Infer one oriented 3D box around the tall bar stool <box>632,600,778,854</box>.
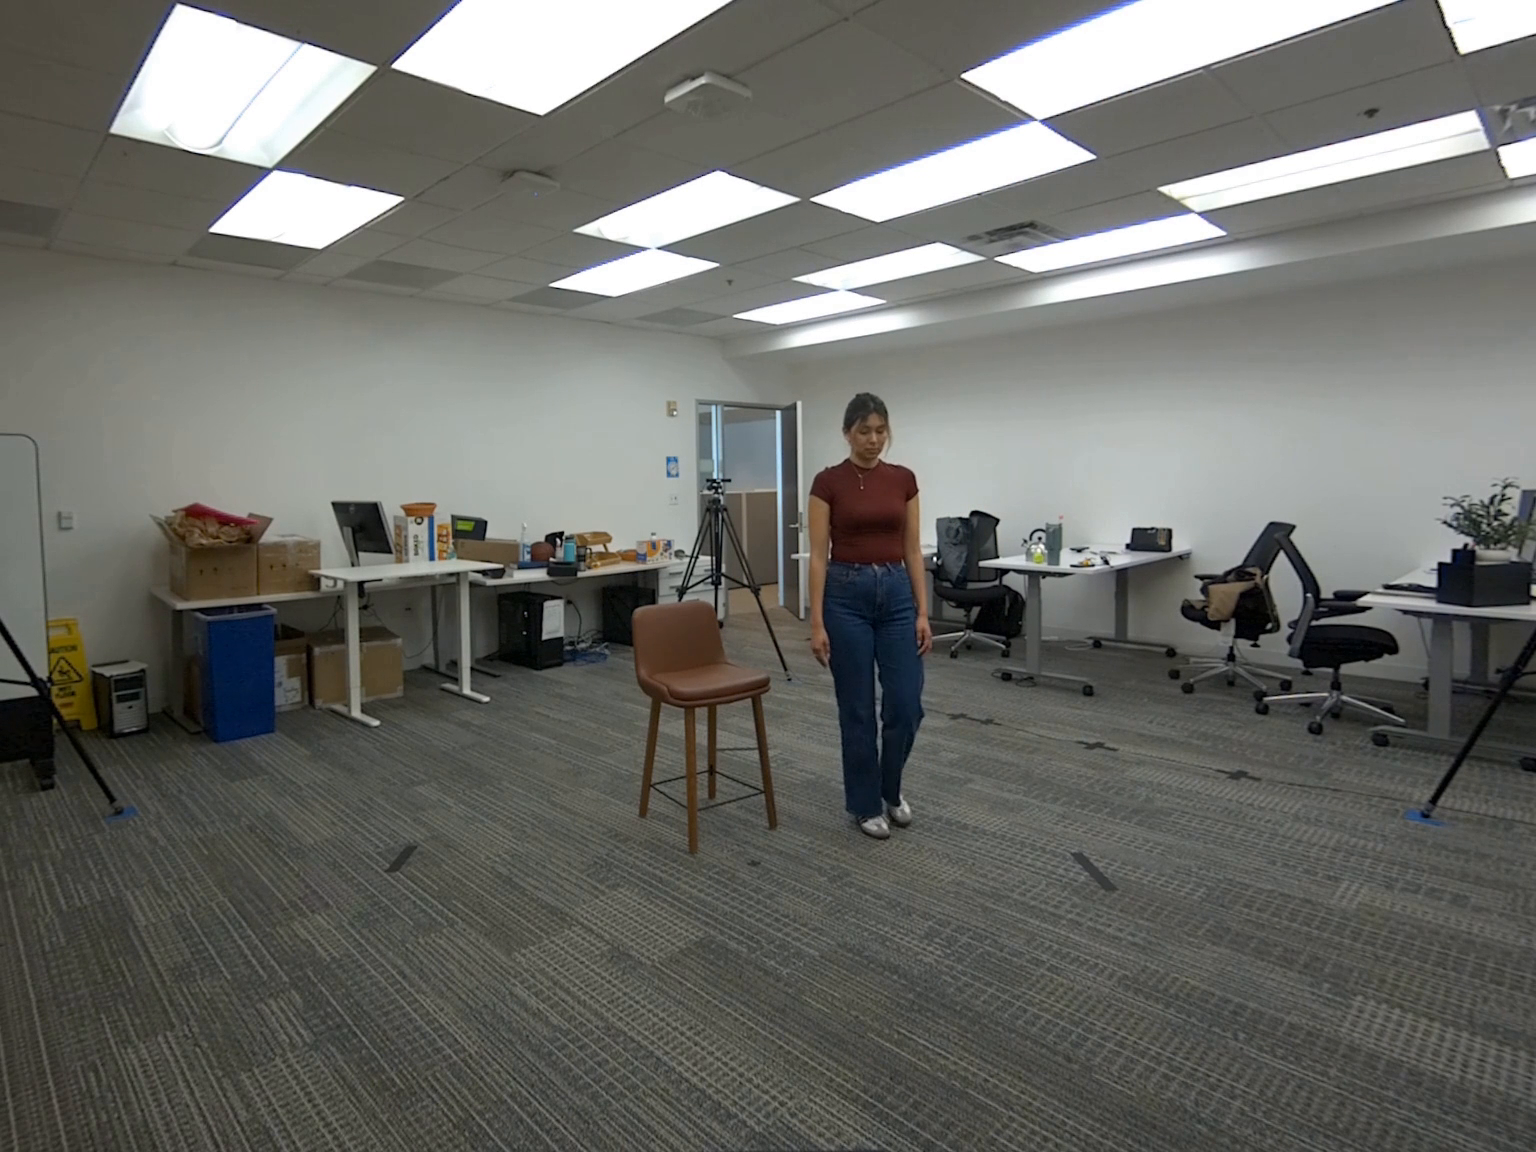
[{"bbox_3d":[-0.266,0.573,3.464,0.445,0.888,0.481,-3,3,-37],"label":"tall bar stool"}]
